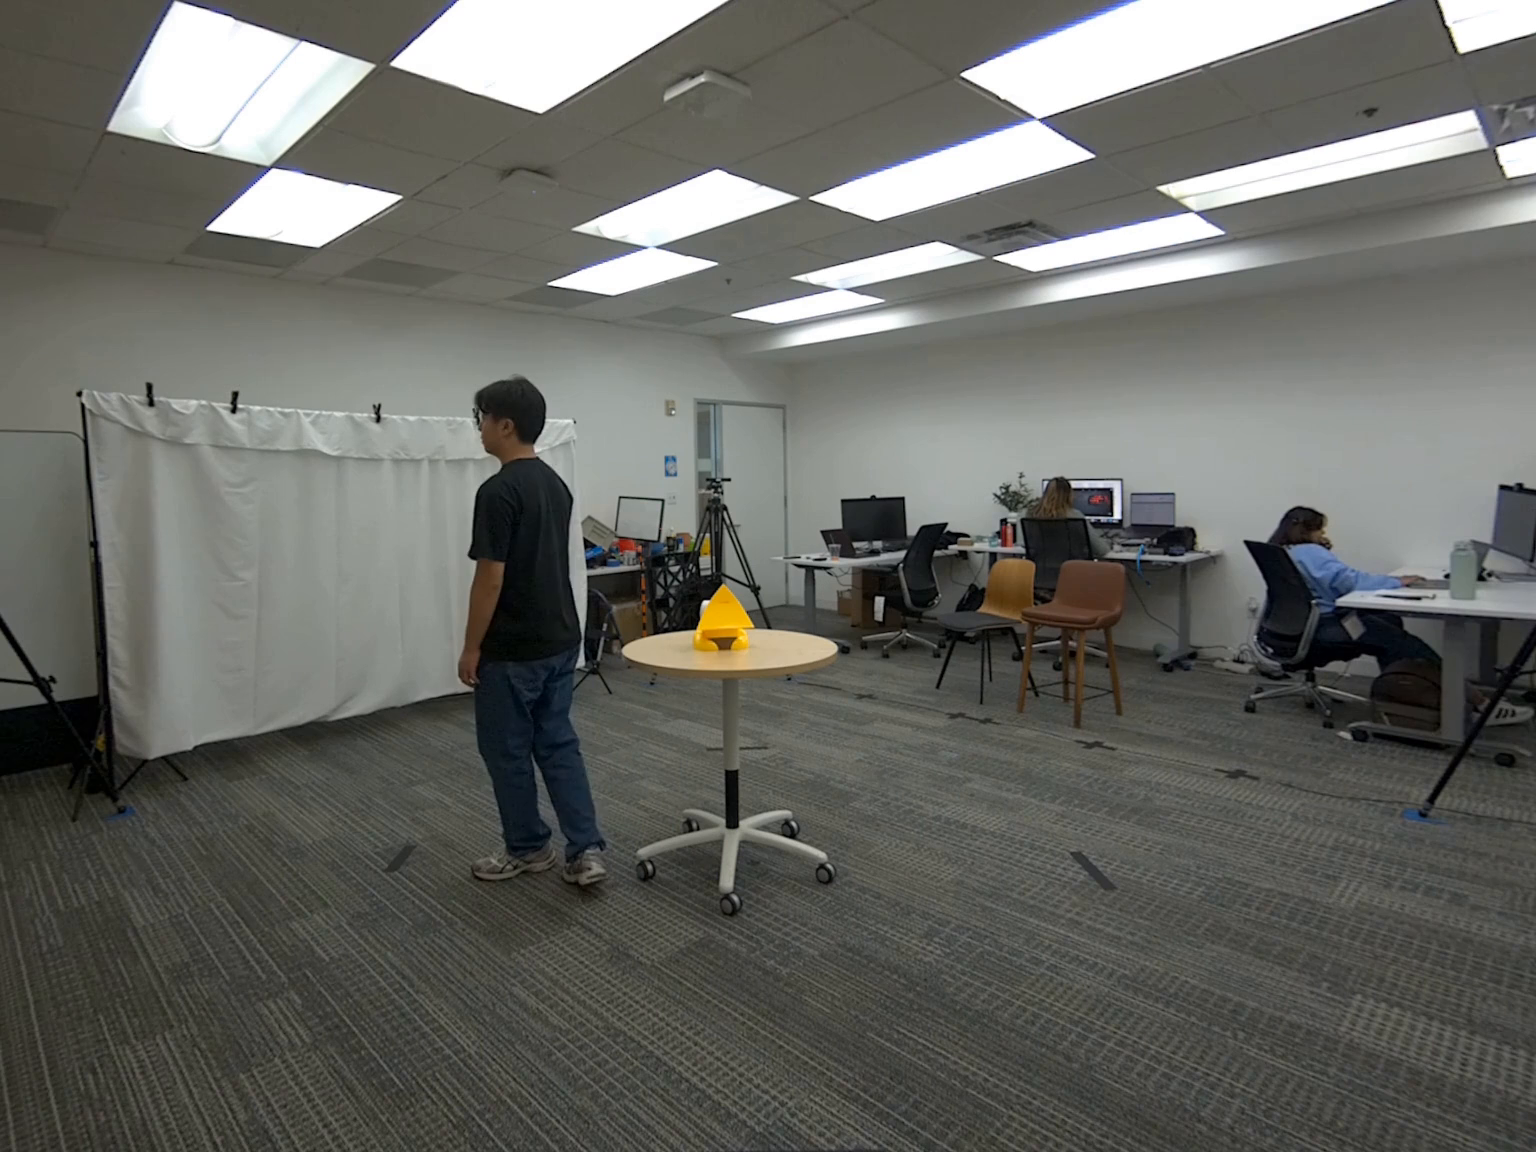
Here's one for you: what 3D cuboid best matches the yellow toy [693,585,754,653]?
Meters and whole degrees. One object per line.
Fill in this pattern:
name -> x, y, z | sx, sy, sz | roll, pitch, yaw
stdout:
yellow toy -> -0.168, 0.135, 3.054 | 0.202, 0.229, 0.196 | -2, 6, -13
